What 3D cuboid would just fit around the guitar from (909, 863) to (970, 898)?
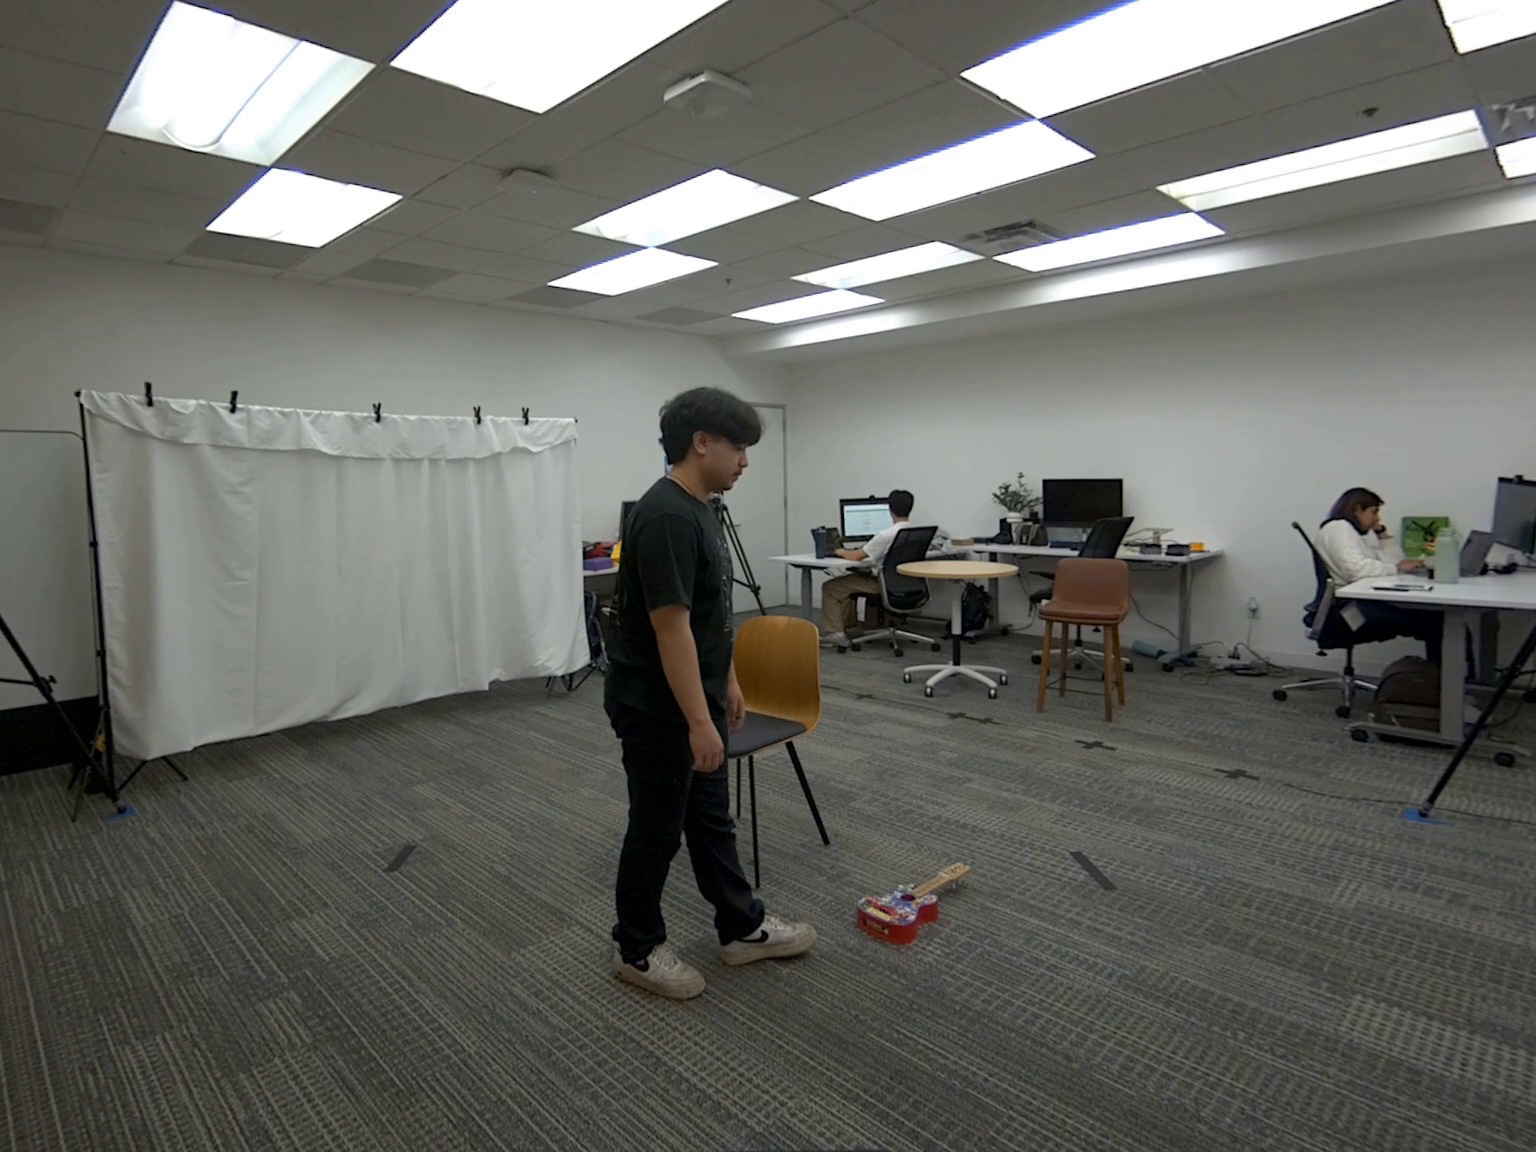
[{"bbox_3d":[0.521,1.042,2.731,0.486,0.070,0.198,-6,7,-33],"label":"guitar"}]
